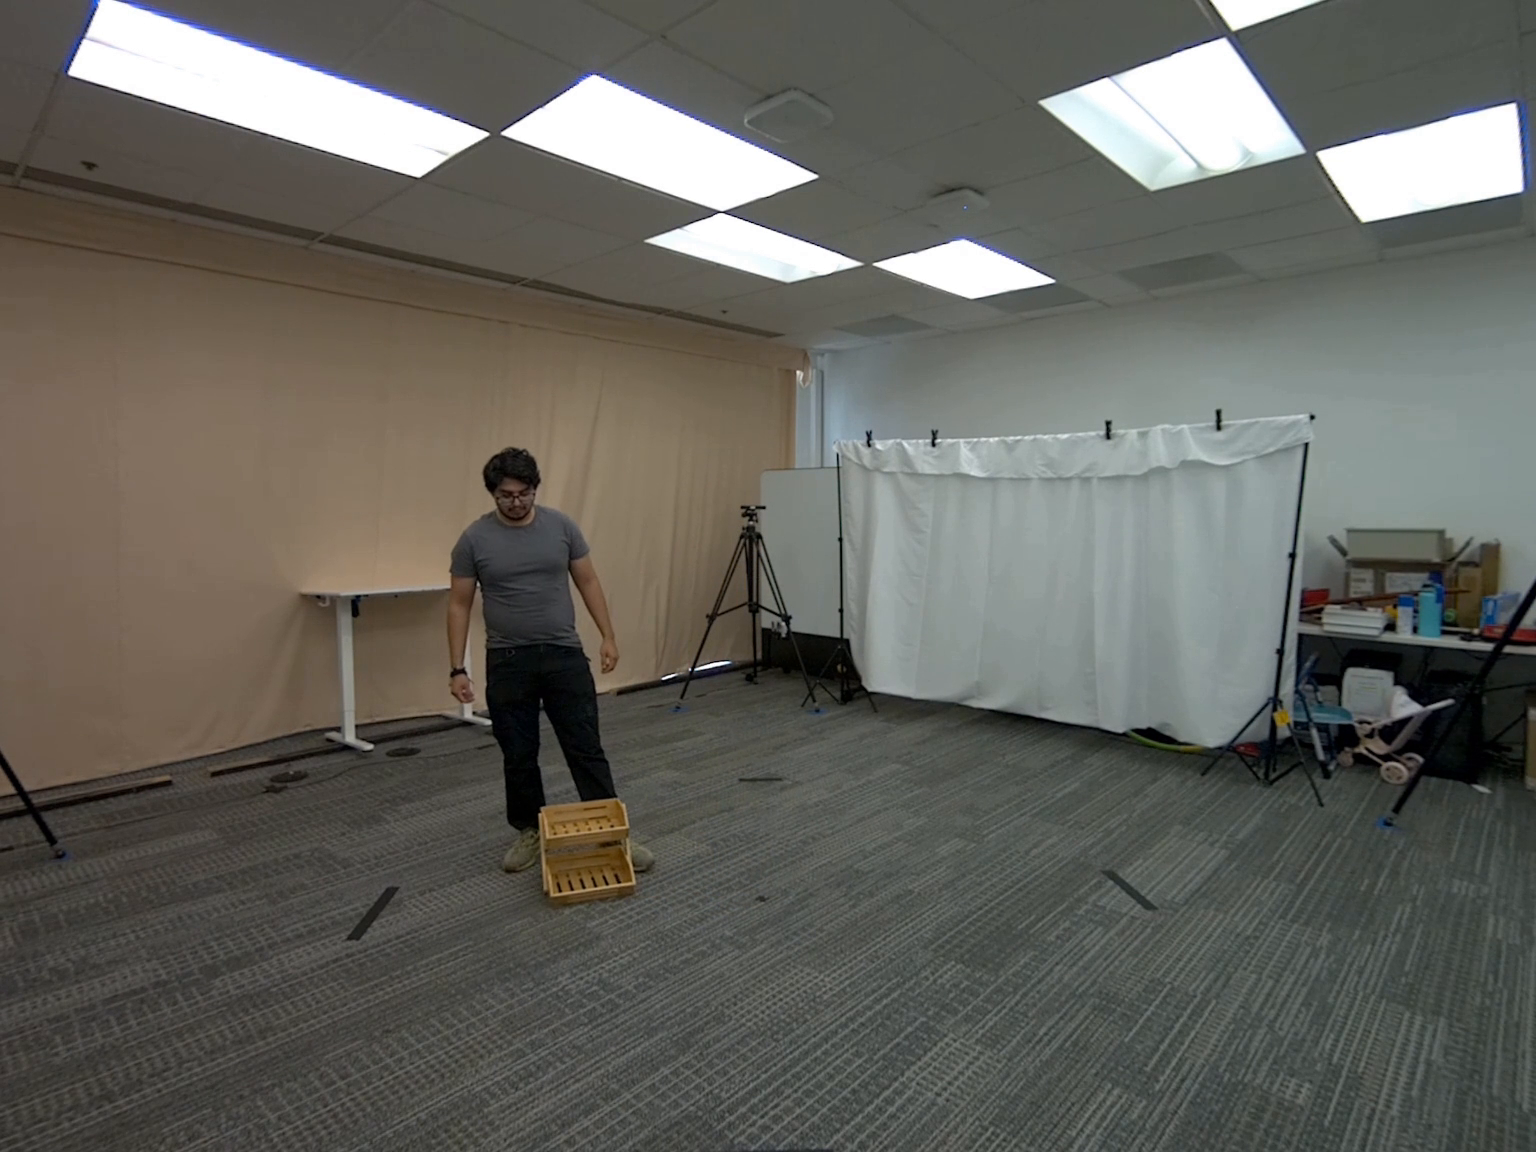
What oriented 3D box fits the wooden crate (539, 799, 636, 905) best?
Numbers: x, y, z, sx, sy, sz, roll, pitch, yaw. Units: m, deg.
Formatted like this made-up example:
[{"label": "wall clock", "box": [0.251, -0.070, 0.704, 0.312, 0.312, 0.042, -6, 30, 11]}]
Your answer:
[{"label": "wooden crate", "box": [-0.671, 1.007, 3.092, 0.318, 0.273, 0.308, -2, 4, -19]}]
